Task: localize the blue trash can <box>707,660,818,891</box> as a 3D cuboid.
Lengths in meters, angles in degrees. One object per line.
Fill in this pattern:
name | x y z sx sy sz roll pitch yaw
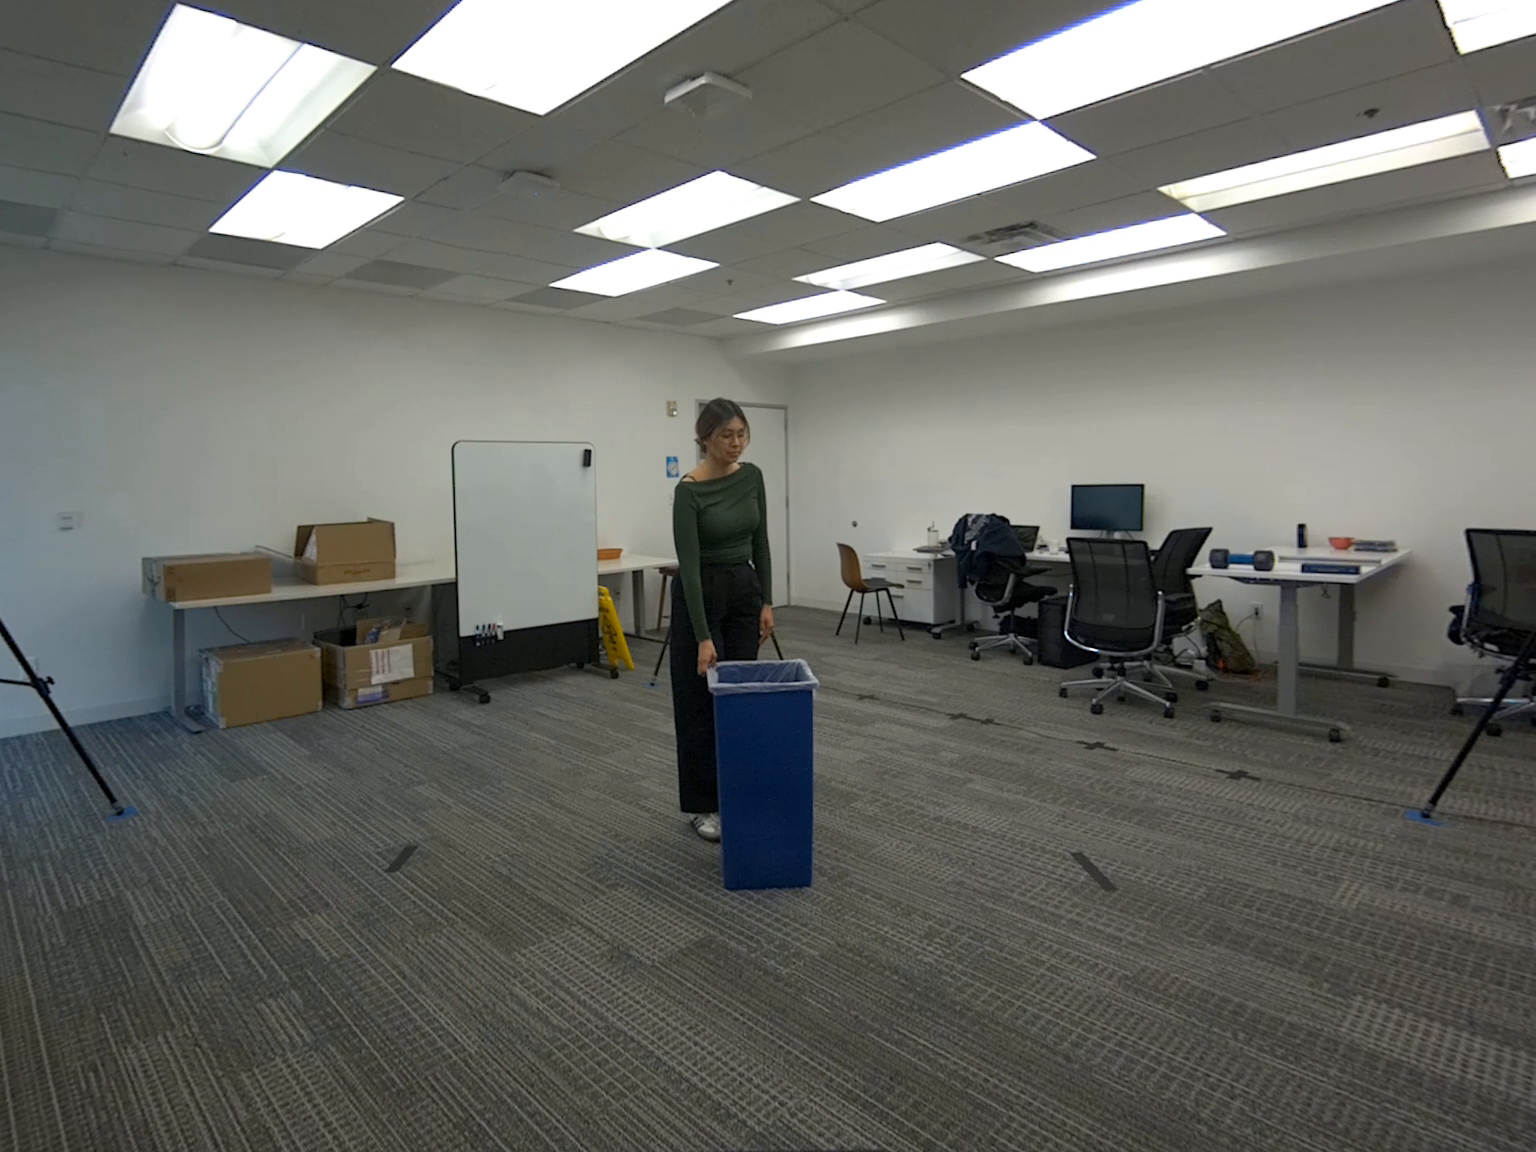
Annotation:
blue trash can | -0.016 0.695 3.034 0.377 0.712 0.376 -2 3 -4
